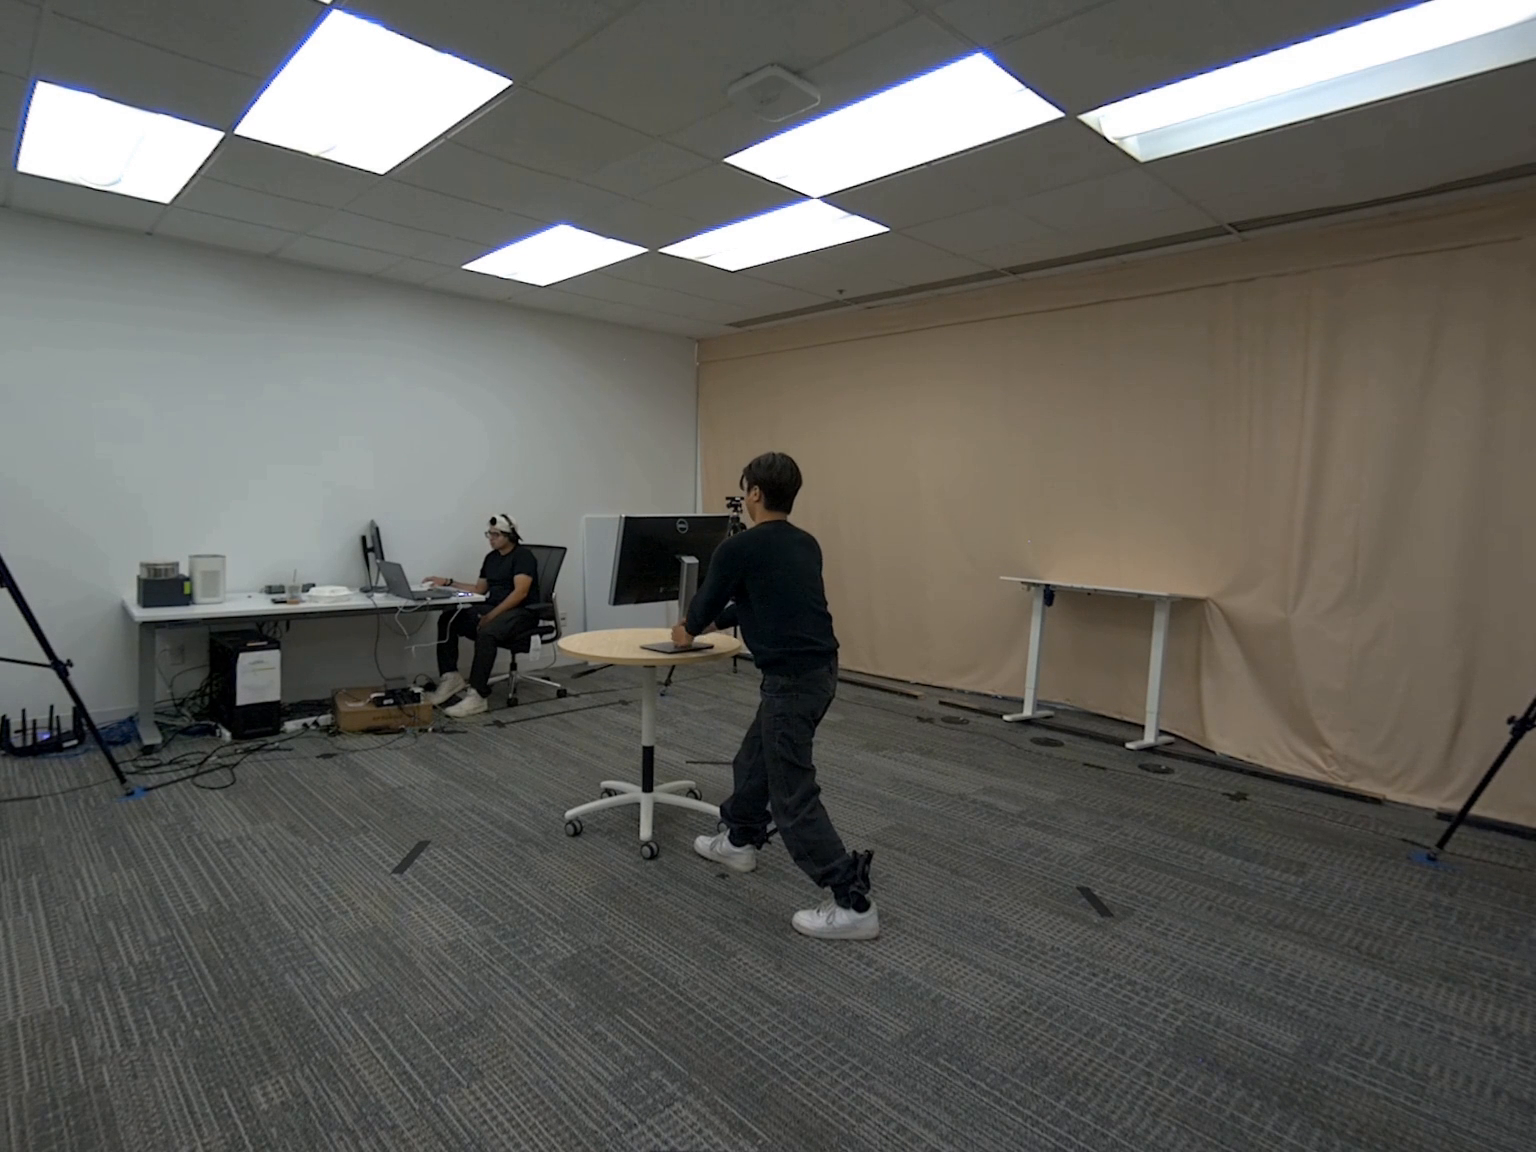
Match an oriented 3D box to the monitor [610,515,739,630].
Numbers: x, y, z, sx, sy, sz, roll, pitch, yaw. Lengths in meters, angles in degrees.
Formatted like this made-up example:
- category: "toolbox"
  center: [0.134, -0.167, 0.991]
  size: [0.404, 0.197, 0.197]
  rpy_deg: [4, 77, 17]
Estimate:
- category: "monitor"
  center: [-0.370, 0.024, 3.392]
  size: [0.192, 0.521, 0.527]
  rpy_deg: [3, 5, 43]
